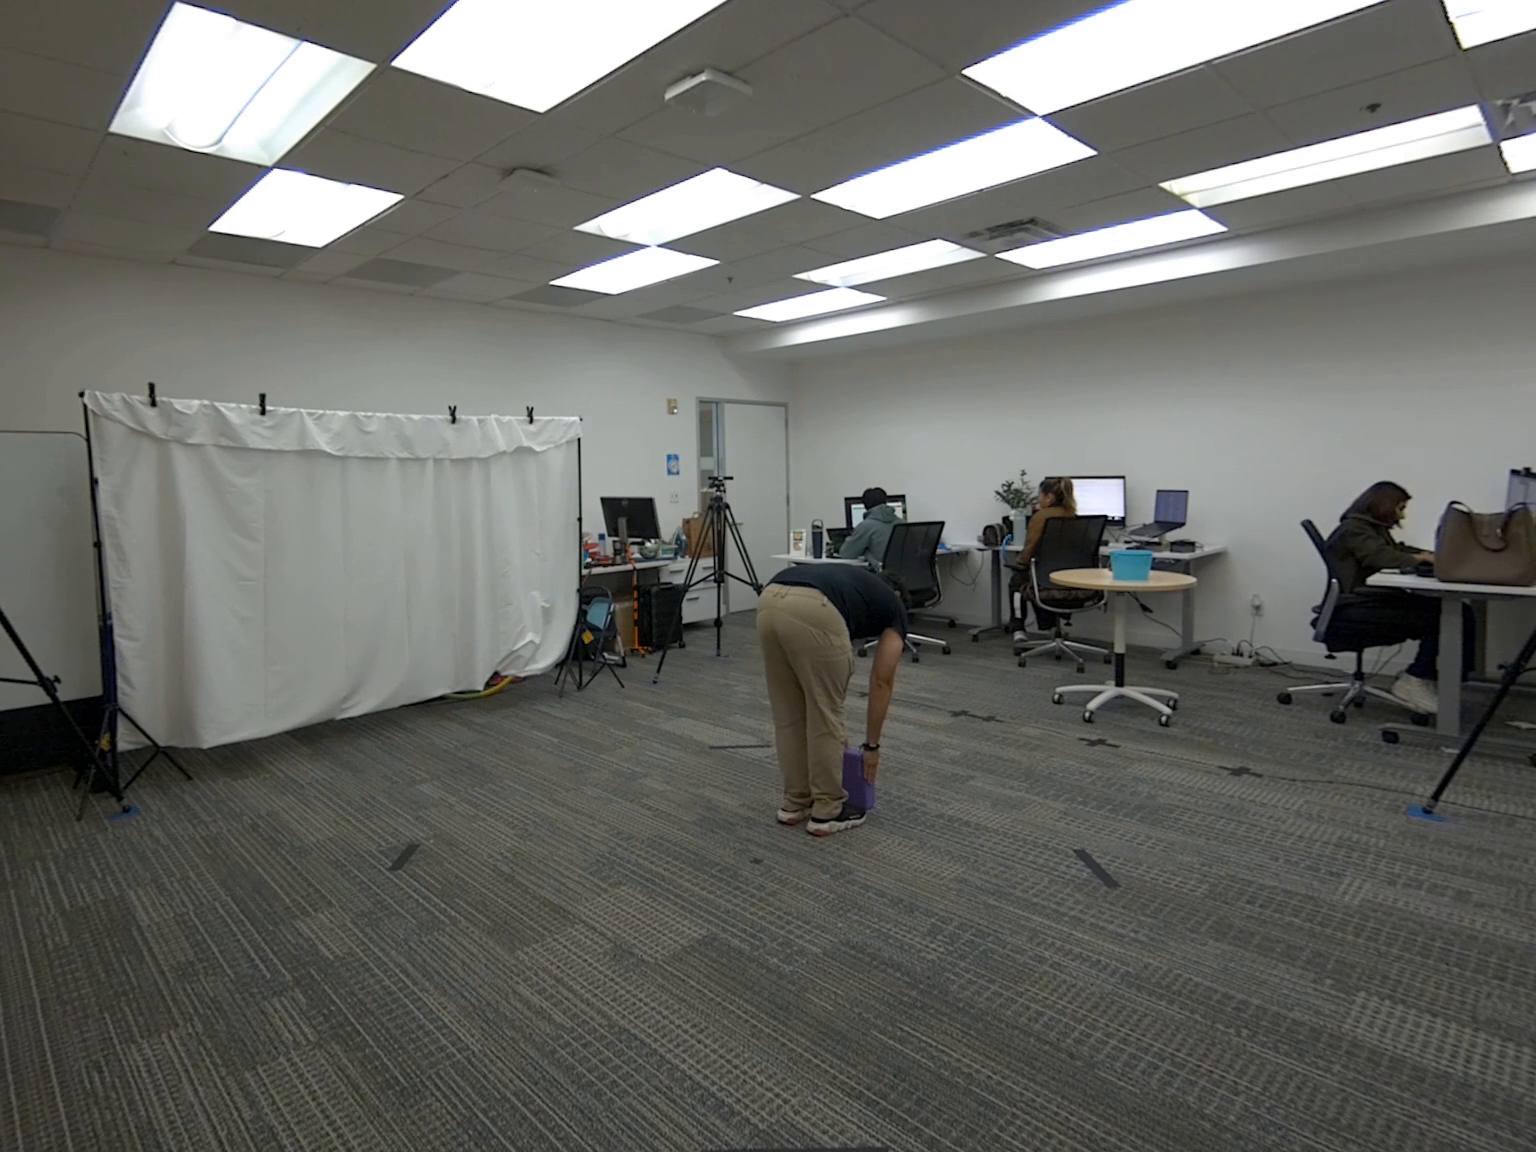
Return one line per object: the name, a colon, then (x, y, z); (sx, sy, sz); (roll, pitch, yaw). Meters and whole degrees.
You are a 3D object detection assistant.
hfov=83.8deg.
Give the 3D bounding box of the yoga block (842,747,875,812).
yoga block: (0.372, 0.855, 3.620); (0.074, 0.228, 0.153); (-4, 6, -42)
